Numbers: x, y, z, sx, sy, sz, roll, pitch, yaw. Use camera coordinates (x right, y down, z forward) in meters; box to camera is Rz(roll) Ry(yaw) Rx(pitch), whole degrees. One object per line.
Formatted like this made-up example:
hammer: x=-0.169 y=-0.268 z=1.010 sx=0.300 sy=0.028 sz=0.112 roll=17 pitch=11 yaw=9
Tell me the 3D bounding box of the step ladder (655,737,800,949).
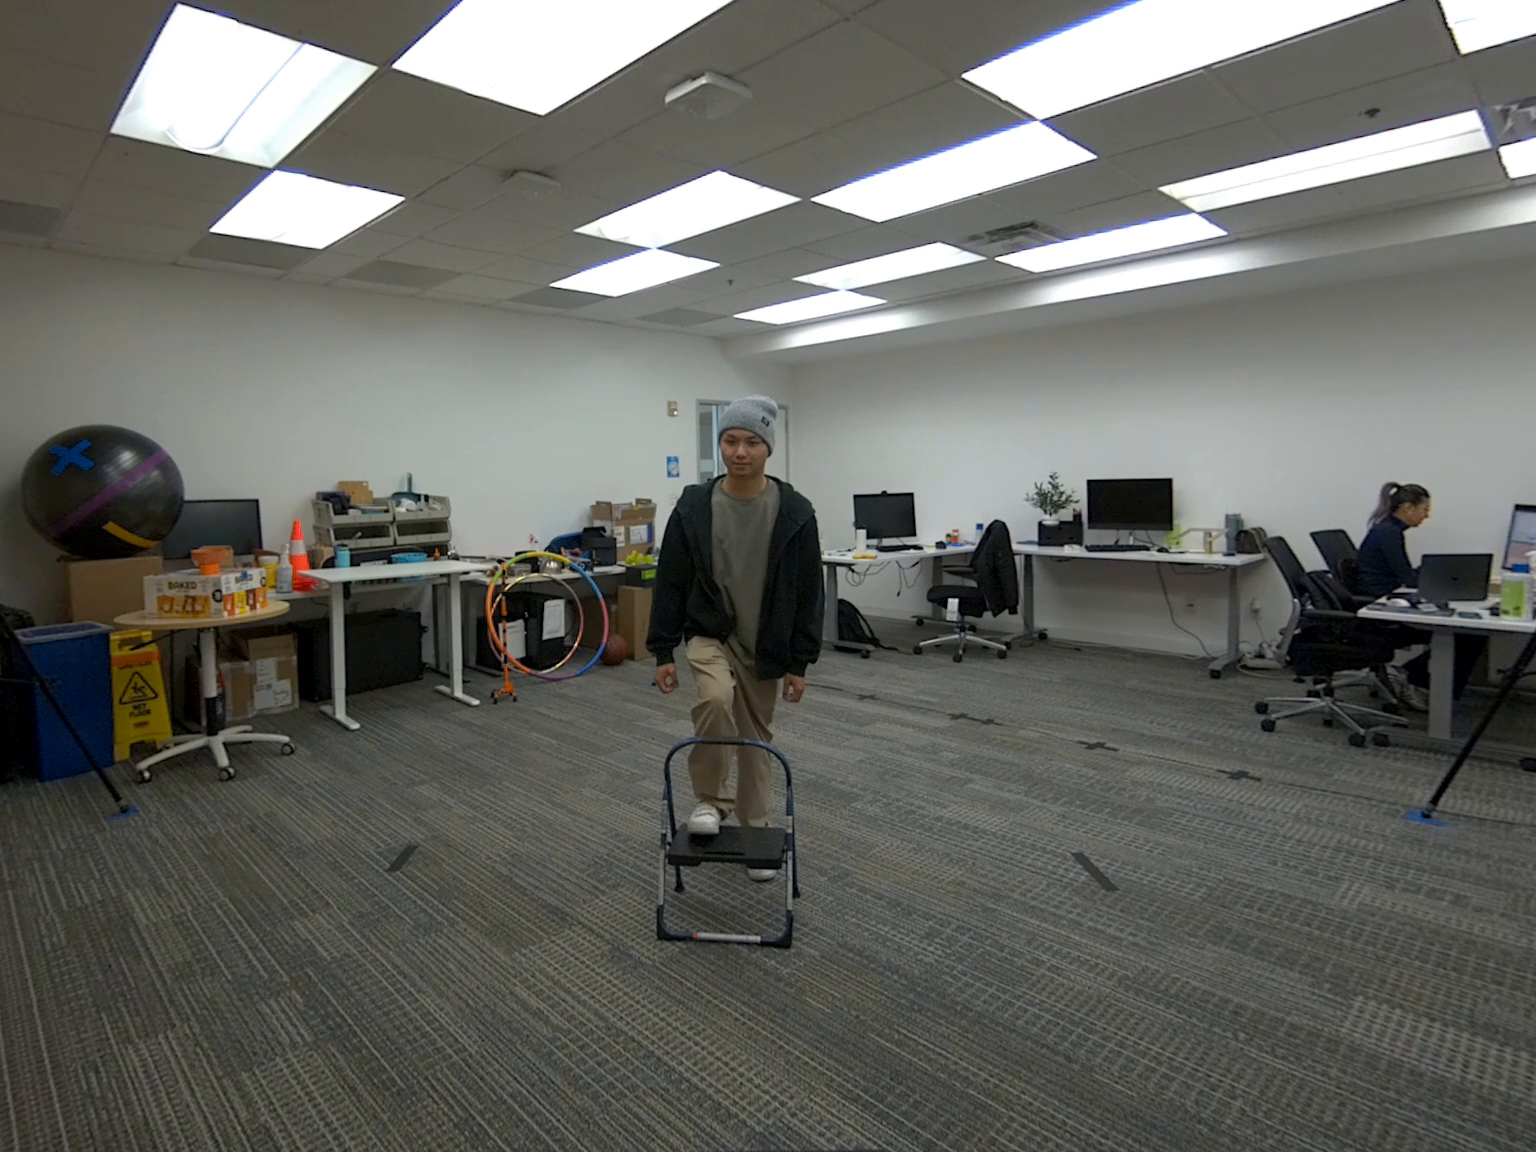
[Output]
step ladder: x=-0.120 y=0.795 z=2.716 sx=0.433 sy=0.604 sz=0.348 roll=0 pitch=4 yaw=6
